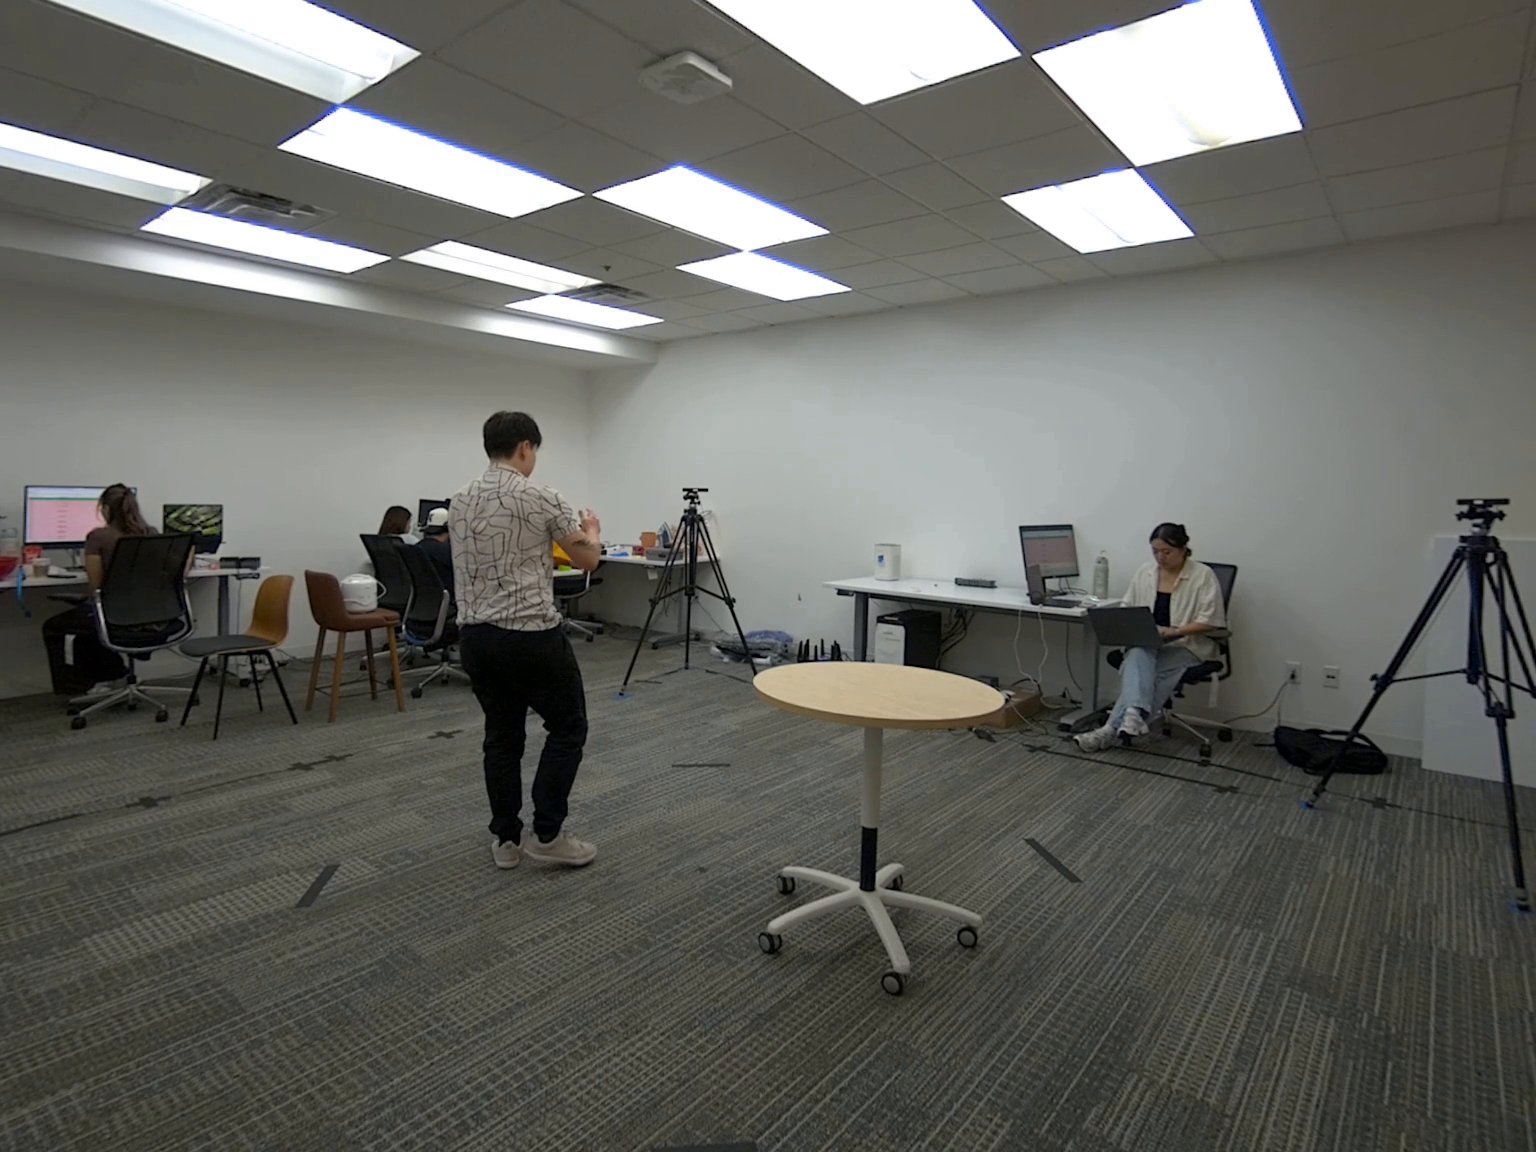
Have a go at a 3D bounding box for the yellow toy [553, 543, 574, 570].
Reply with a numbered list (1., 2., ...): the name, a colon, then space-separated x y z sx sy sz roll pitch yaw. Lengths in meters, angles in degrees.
1. yellow toy: -0.830 -0.136 3.501 0.224 0.194 0.210 37 -15 -21
